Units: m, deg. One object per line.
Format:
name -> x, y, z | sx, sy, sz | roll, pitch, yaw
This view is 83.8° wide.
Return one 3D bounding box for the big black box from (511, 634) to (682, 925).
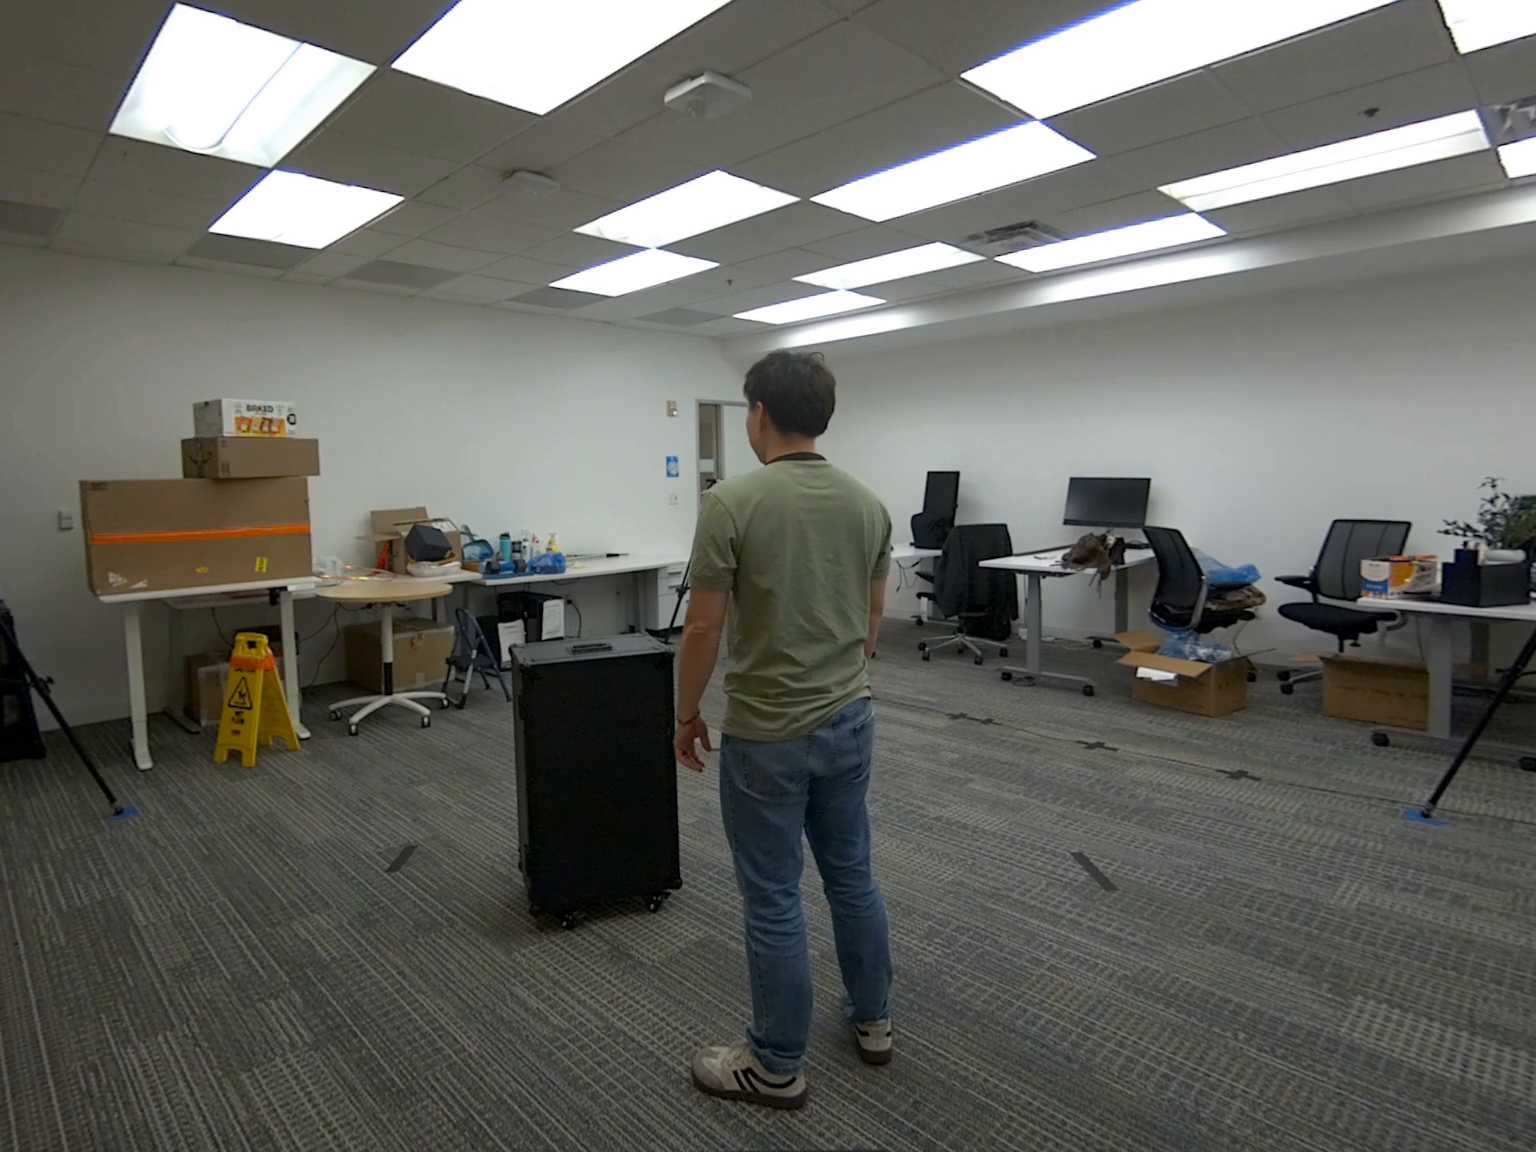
big black box -> -0.589, 0.659, 2.849 | 0.512, 0.859, 0.405 | -4, 3, -21
